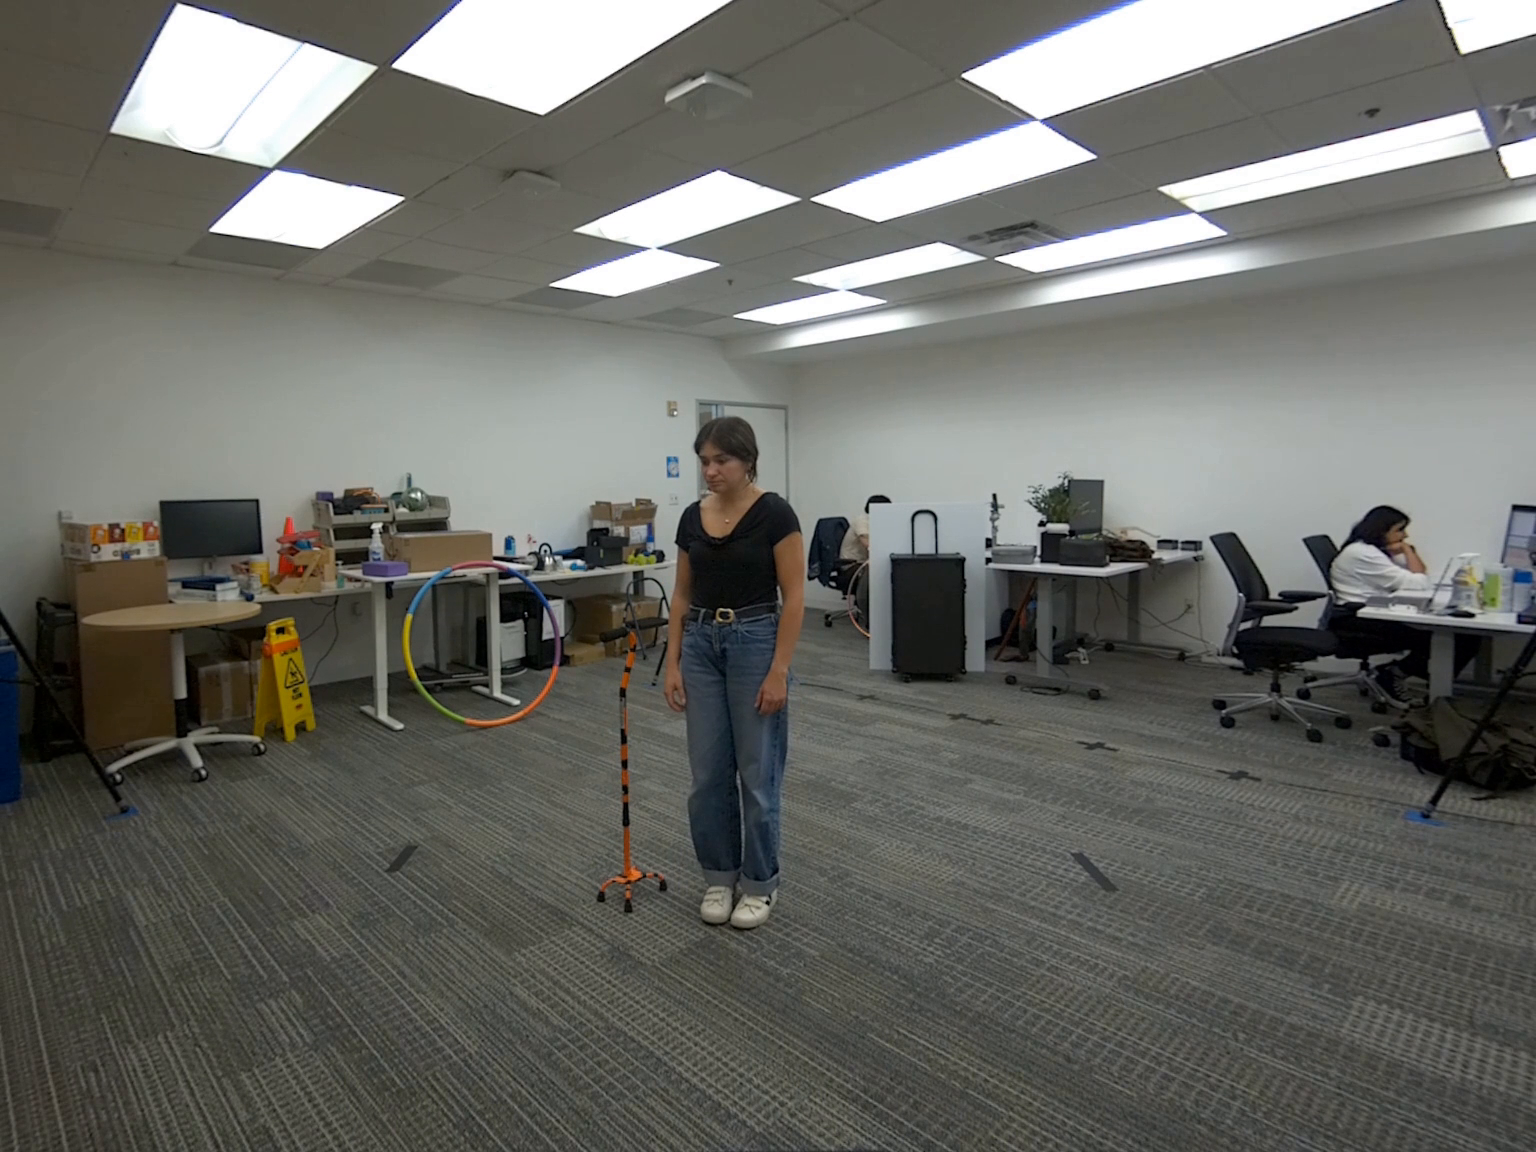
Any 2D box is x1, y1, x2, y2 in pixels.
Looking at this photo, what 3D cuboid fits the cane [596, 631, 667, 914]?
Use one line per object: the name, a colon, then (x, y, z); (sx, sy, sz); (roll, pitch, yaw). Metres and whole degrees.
cane: (-0.462, 0.628, 2.856); (0.156, 0.903, 0.202); (3, 6, 30)
